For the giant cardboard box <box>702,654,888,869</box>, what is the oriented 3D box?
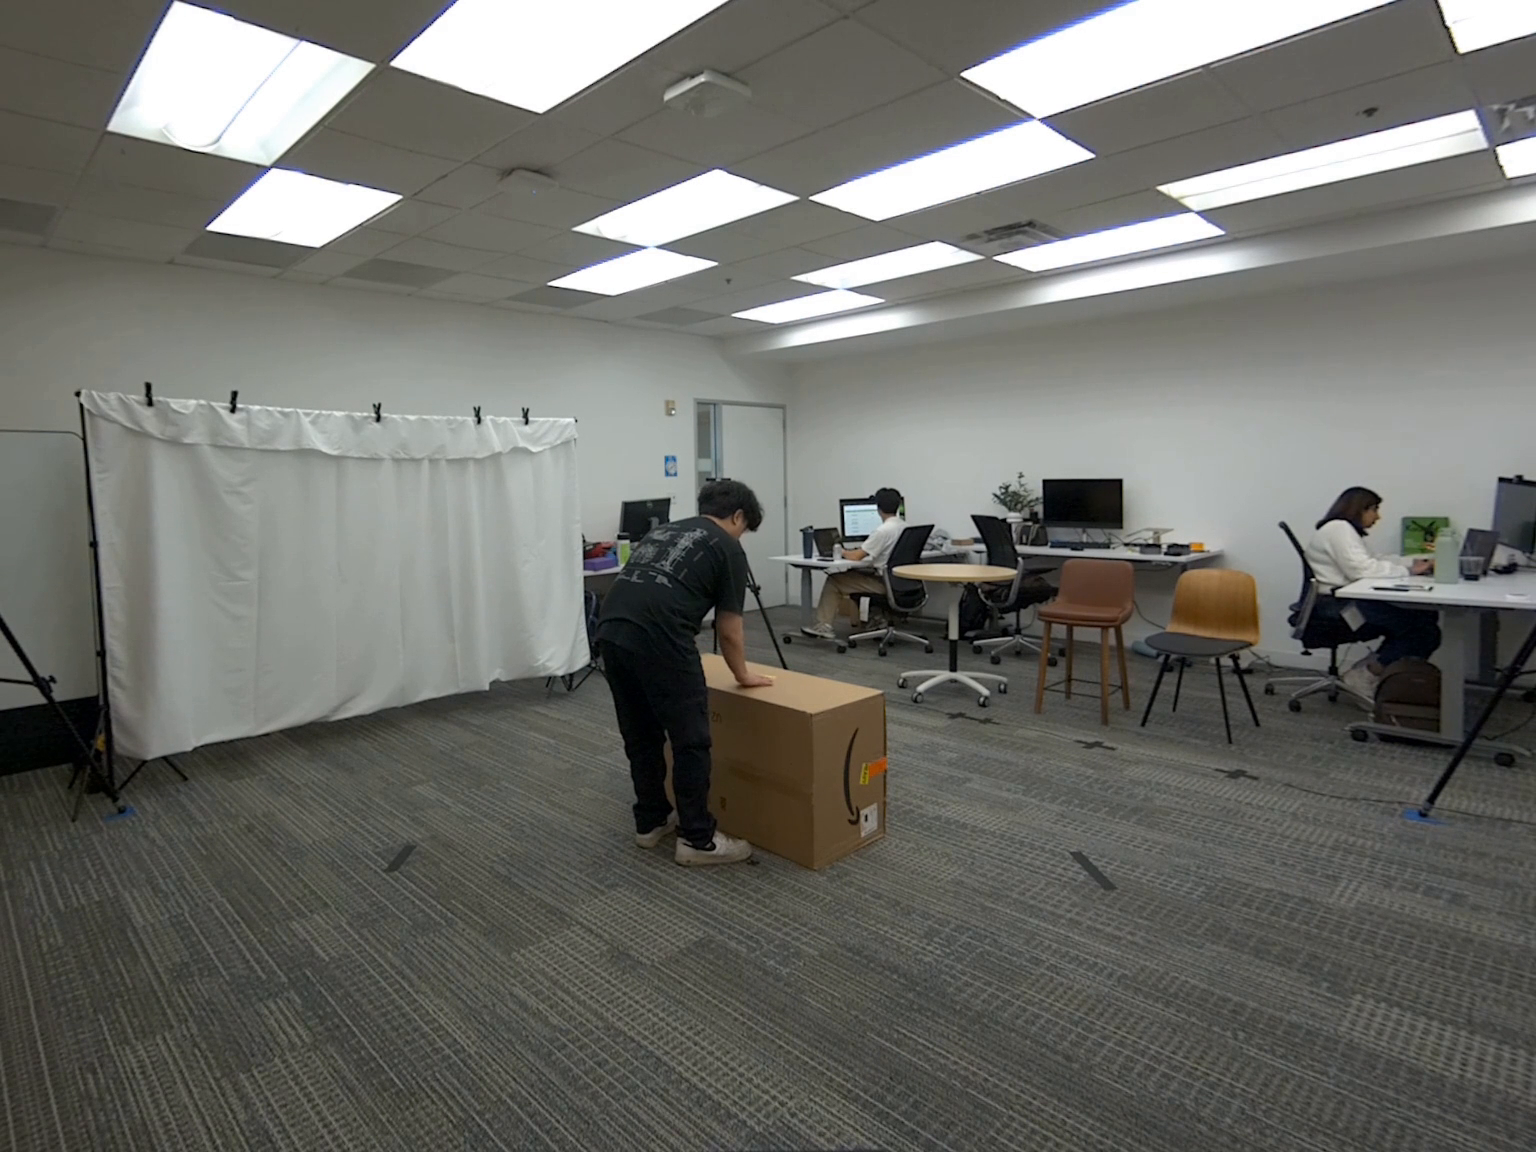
[{"bbox_3d":[-0.054,0.710,3.531,0.435,0.582,1.059,-4,7,-44],"label":"giant cardboard box"}]
